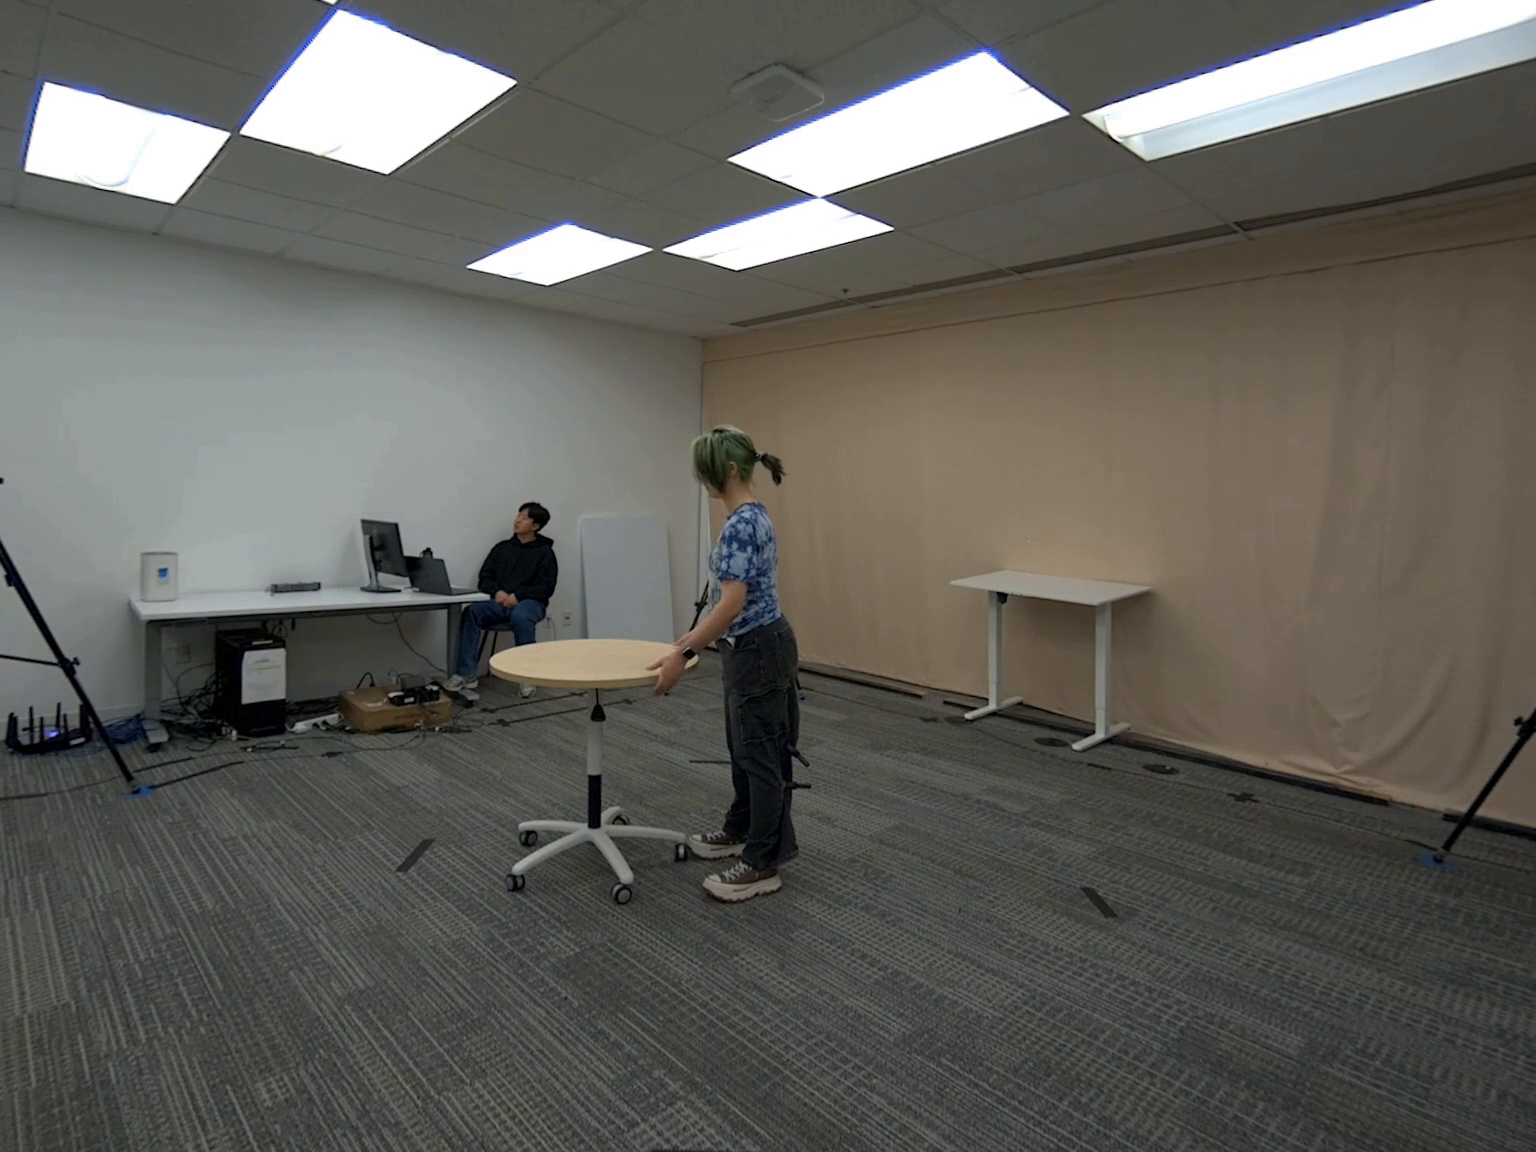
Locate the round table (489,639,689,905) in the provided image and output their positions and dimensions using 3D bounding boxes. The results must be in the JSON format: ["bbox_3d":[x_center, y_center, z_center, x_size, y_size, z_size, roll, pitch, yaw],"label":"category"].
[{"bbox_3d":[-0.652,0.697,3.156,0.763,0.792,0.767,1,4,-1],"label":"round table"}]
